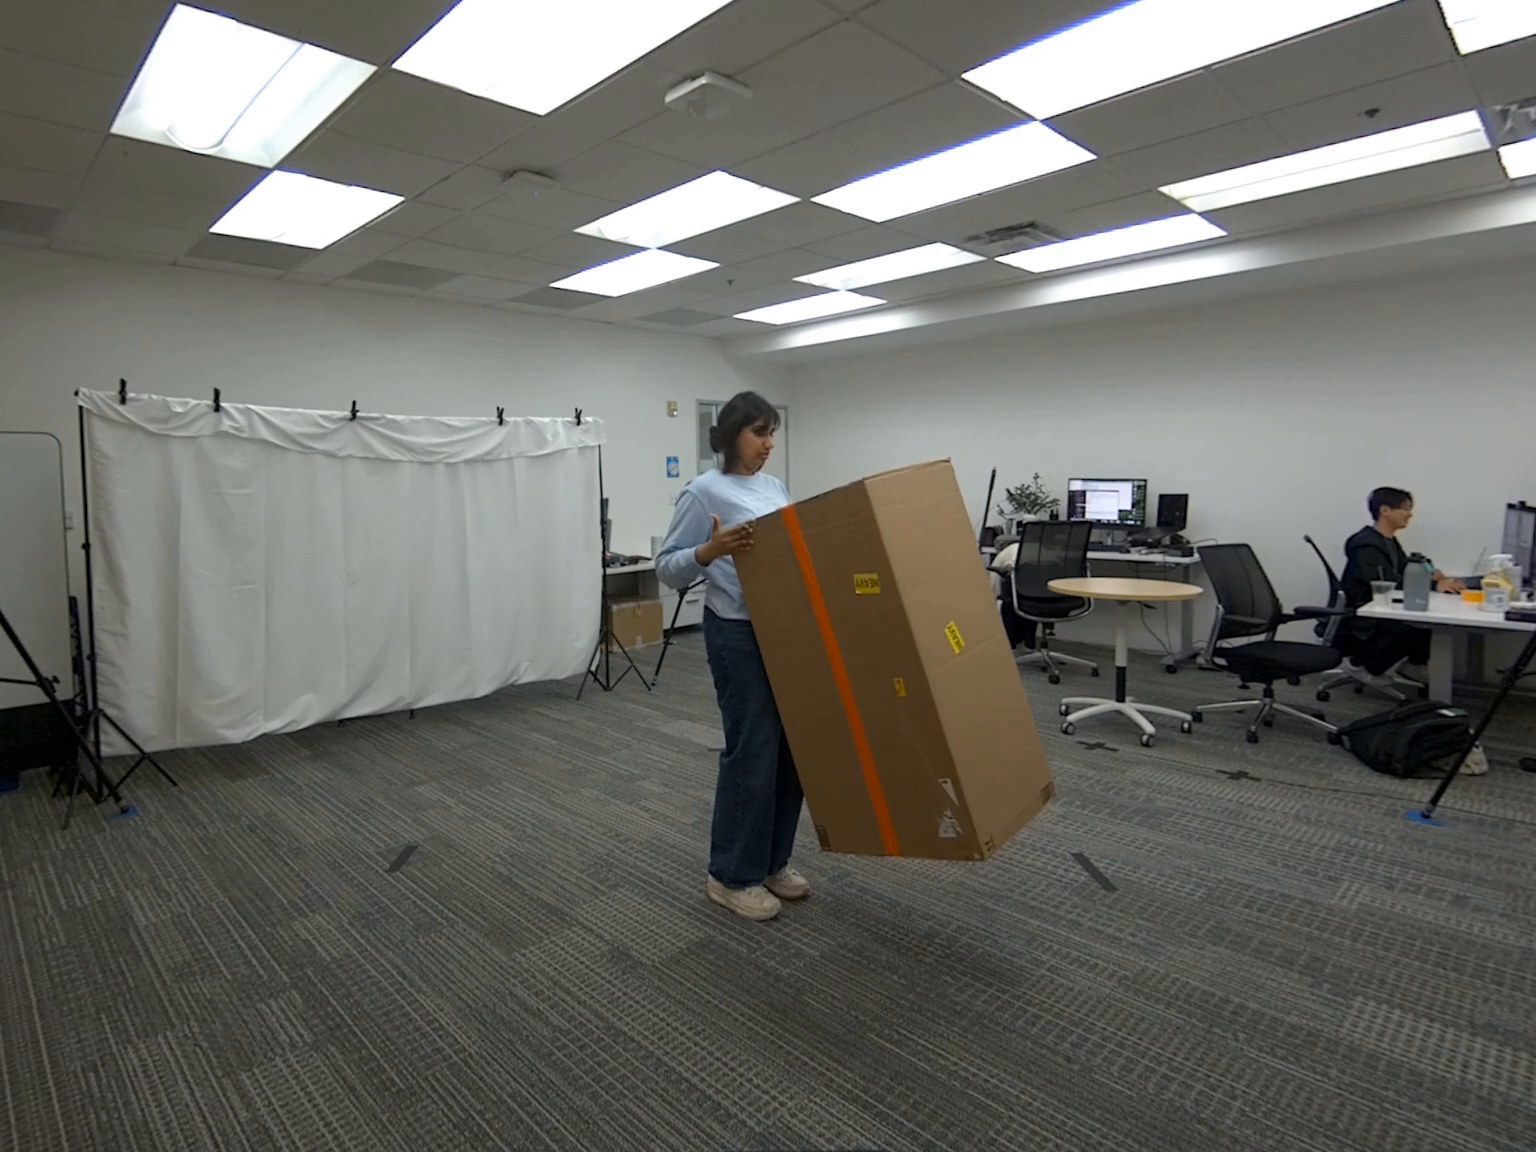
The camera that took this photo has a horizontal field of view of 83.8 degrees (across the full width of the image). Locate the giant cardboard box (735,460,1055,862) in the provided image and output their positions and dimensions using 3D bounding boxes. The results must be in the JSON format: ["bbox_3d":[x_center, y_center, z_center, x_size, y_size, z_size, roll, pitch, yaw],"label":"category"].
[{"bbox_3d":[0.345,0.245,2.525,0.438,1.029,0.594,-16,-2,-41],"label":"giant cardboard box"}]
